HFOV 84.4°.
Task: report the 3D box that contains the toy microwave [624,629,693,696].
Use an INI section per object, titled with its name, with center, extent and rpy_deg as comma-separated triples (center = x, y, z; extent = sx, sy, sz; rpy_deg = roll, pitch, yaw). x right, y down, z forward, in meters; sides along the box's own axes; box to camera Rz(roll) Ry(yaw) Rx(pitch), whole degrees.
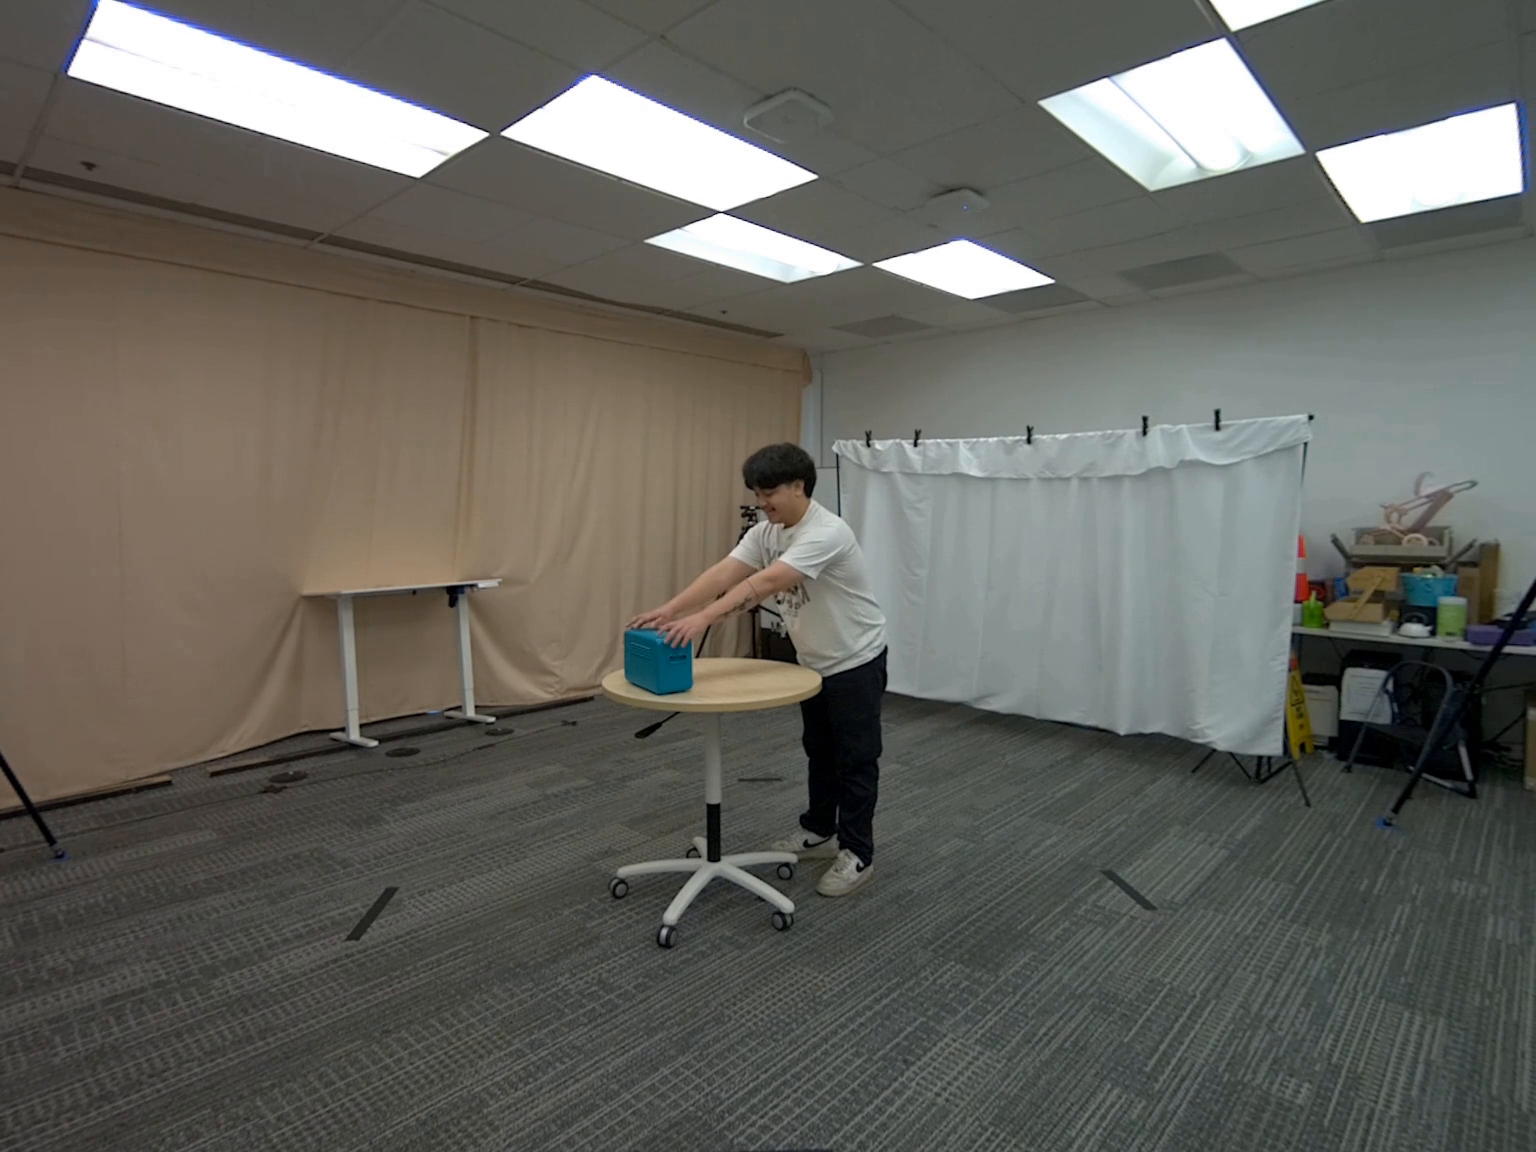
[toy microwave]
center = -0.361, 0.279, 2.810
extent = 0.148, 0.184, 0.294
rpy_deg = -3, 4, -31
